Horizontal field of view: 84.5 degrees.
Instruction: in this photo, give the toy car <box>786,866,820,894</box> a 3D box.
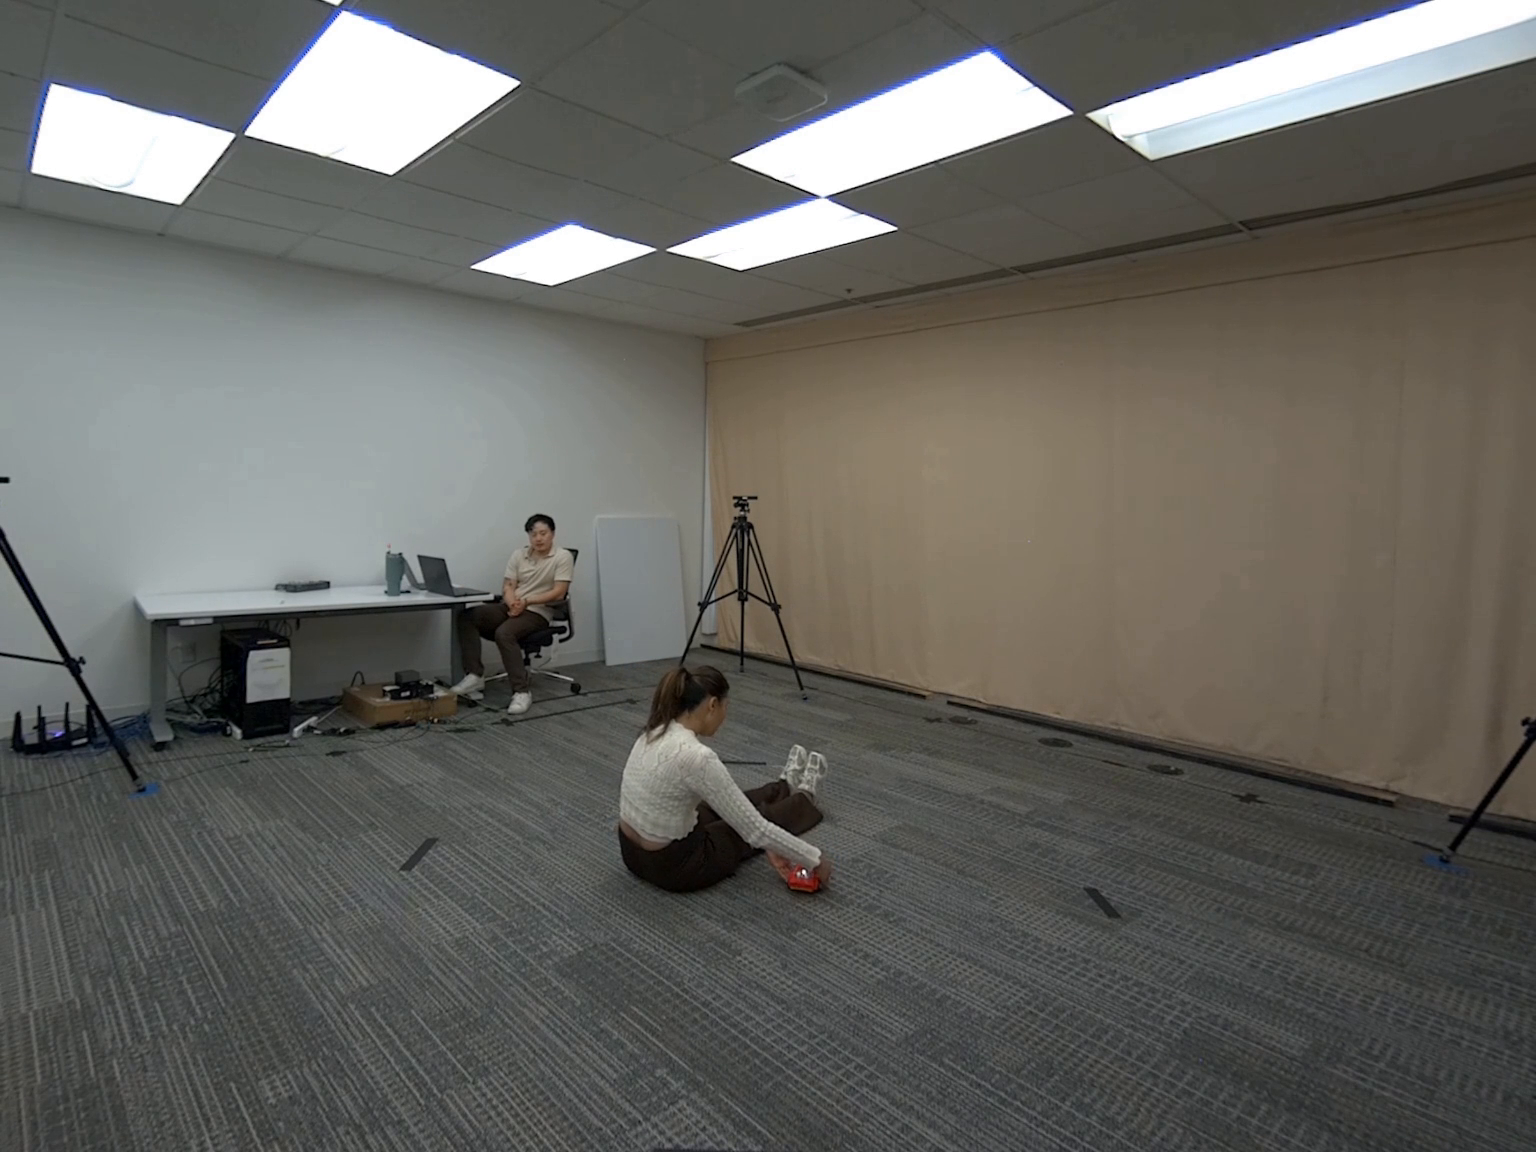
[{"bbox_3d":[0.132,1.075,3.042,0.132,0.083,0.249,4,-6,17],"label":"toy car"}]
